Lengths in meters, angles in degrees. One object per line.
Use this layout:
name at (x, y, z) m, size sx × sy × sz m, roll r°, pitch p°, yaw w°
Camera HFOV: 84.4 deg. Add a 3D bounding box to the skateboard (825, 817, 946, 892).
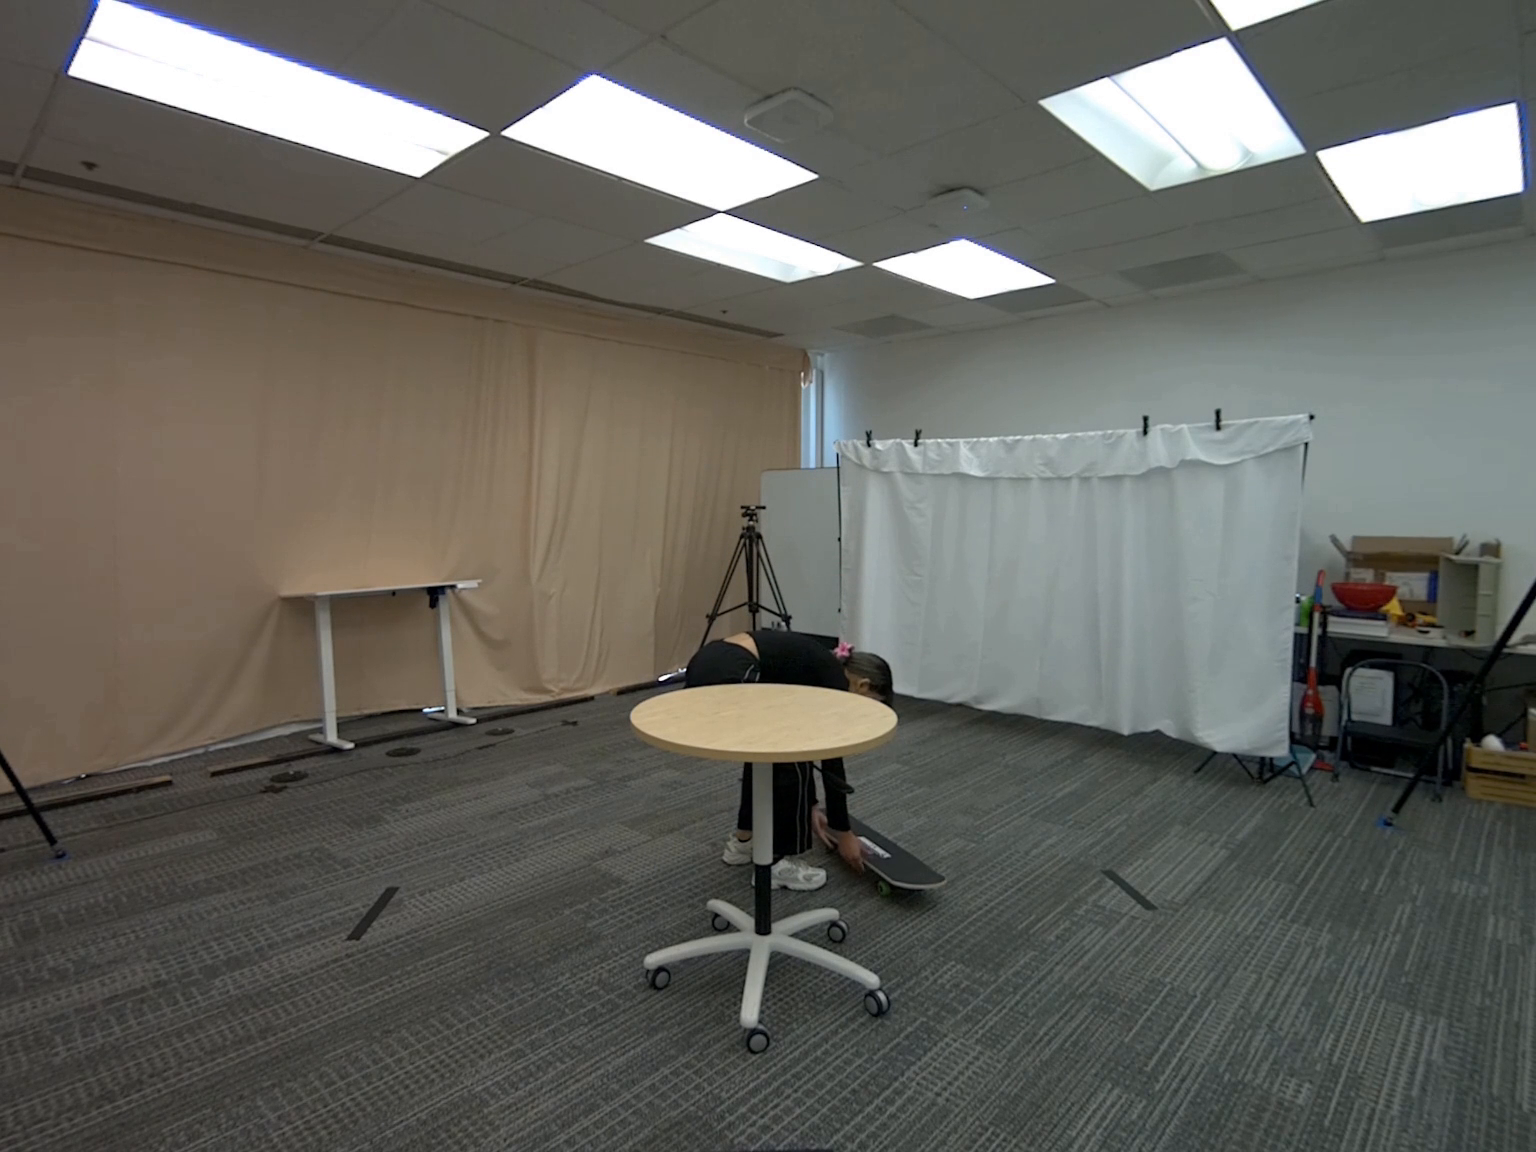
skateboard at (0.396, 1.058, 3.215) m, size 0.189 × 0.110 × 0.805 m, roll -2°, pitch 6°, yaw -24°
